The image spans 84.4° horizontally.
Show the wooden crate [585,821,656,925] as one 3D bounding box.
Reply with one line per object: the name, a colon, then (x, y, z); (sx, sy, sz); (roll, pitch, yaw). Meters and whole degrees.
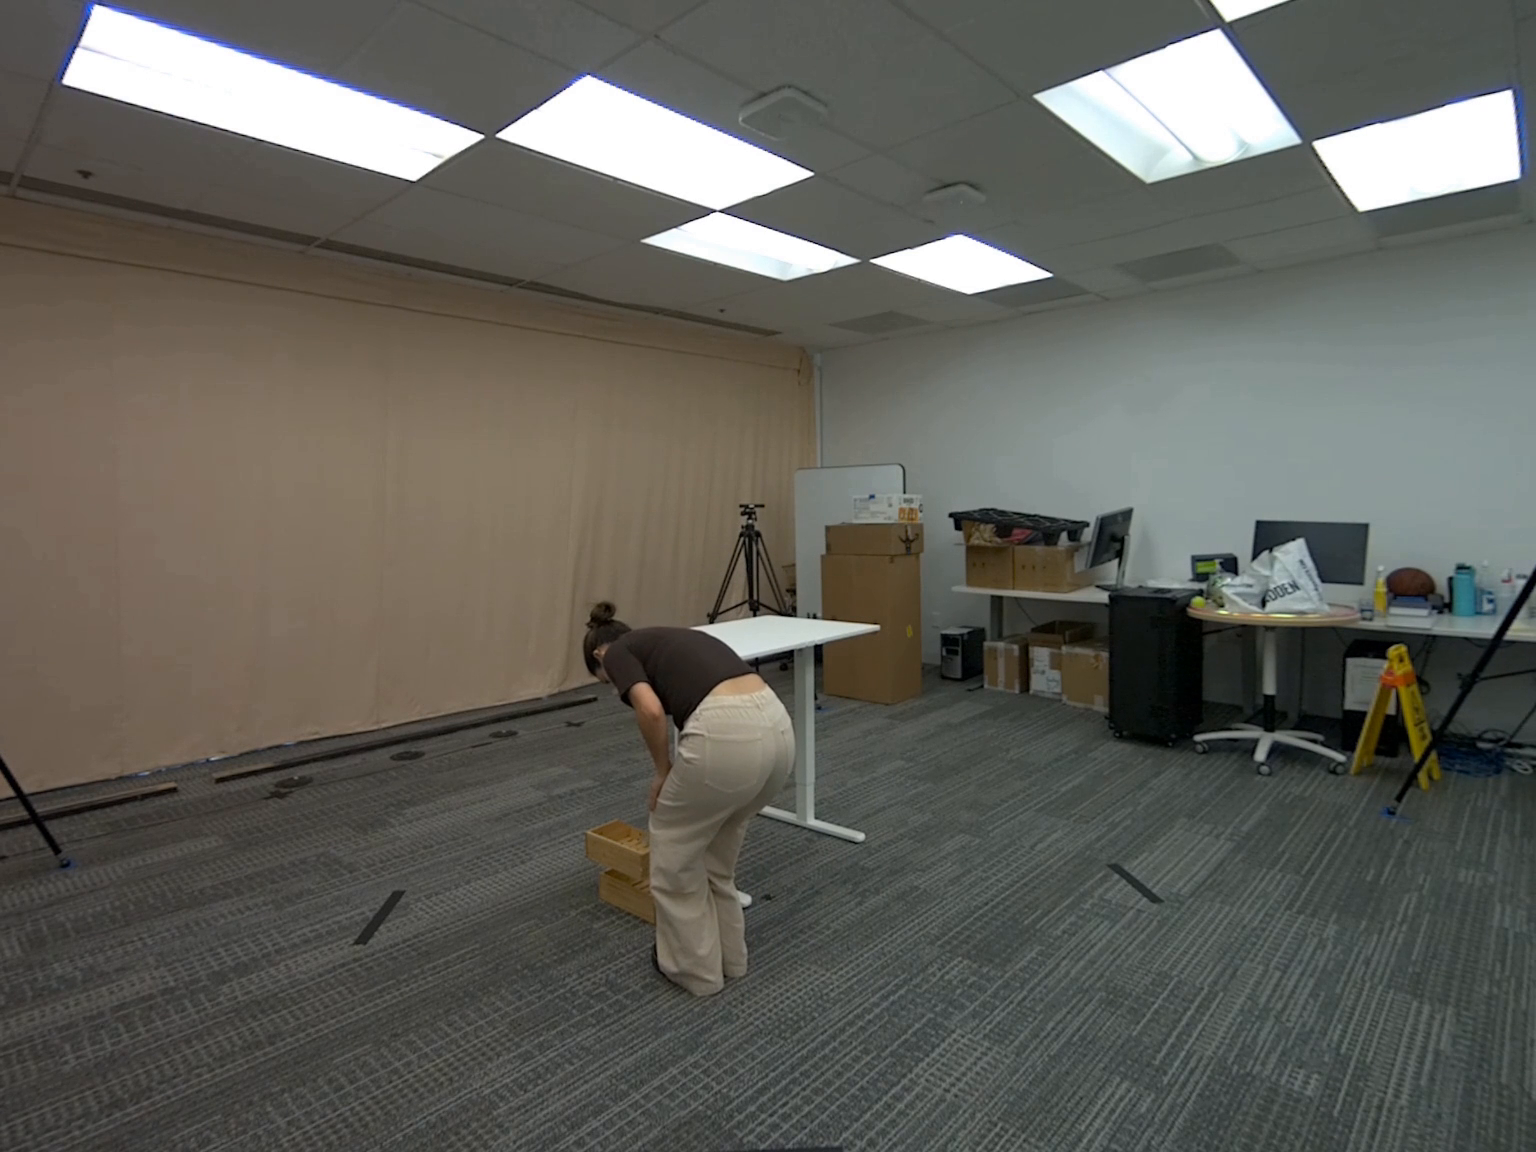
wooden crate: (-0.428, 1.018, 2.965); (0.335, 0.272, 0.293); (2, 6, 41)
